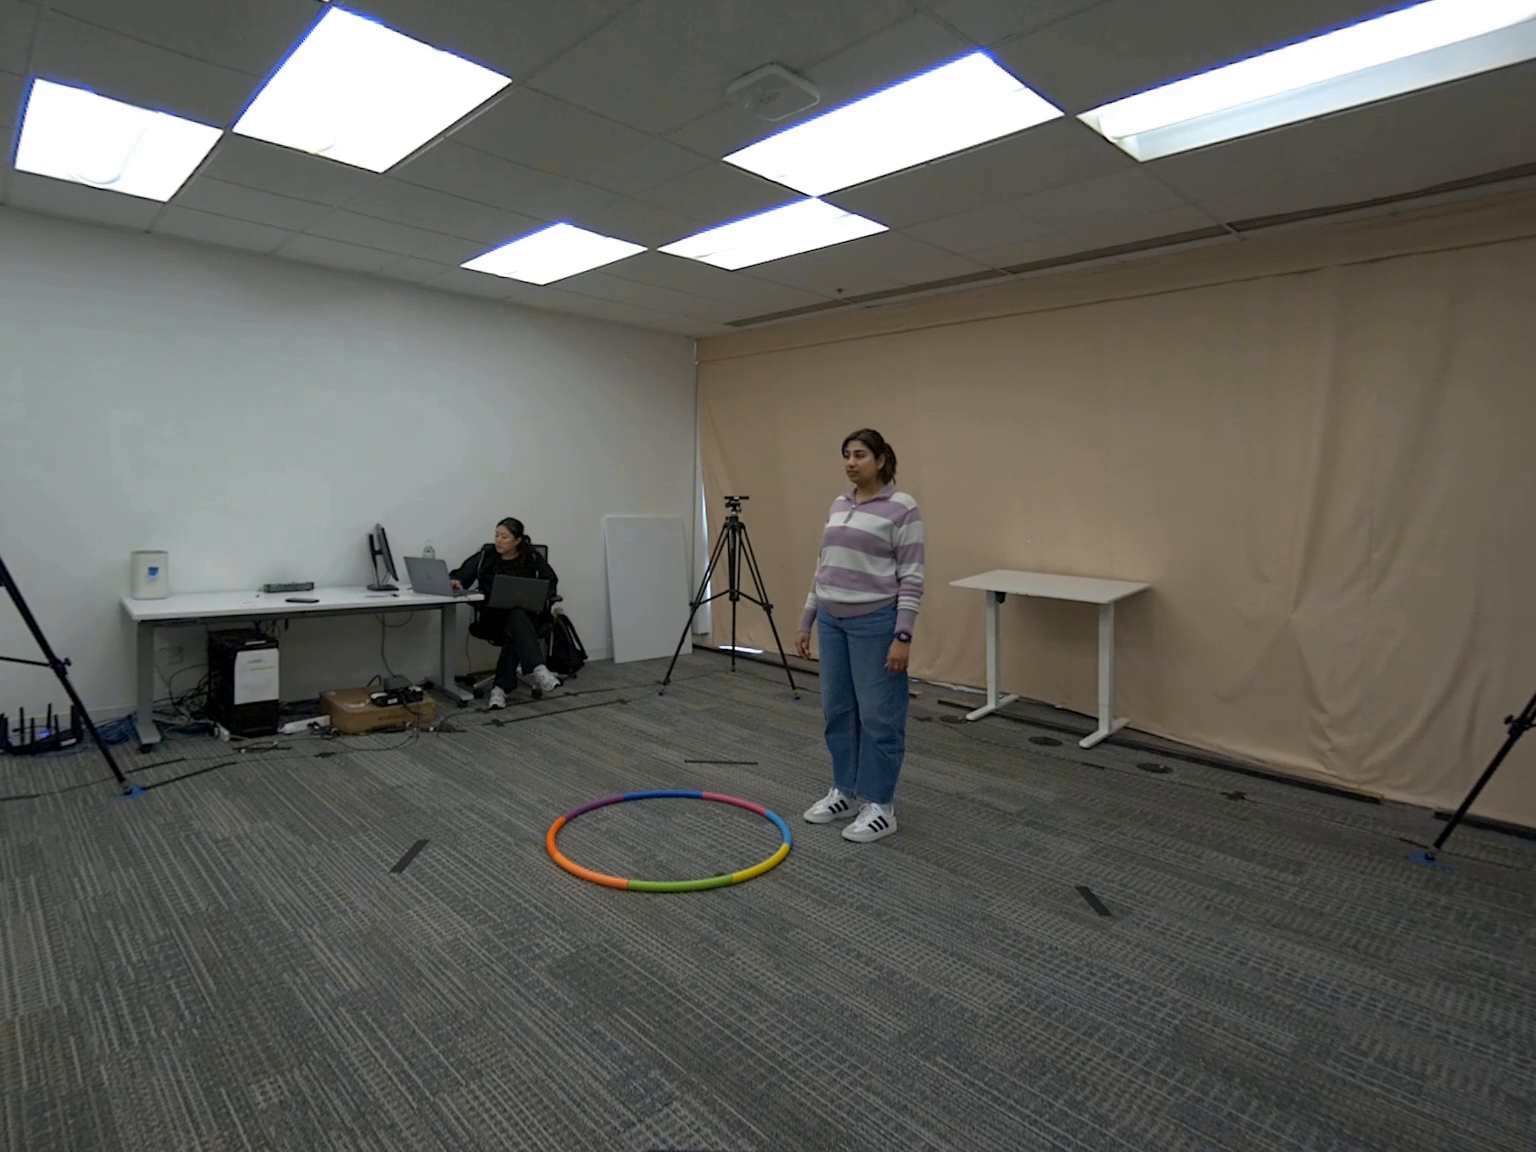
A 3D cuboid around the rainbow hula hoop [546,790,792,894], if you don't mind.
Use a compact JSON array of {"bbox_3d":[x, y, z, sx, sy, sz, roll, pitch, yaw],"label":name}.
[{"bbox_3d":[-0.404,1.043,3.430,0.985,0.051,0.989,1,5,-1],"label":"rainbow hula hoop"}]
